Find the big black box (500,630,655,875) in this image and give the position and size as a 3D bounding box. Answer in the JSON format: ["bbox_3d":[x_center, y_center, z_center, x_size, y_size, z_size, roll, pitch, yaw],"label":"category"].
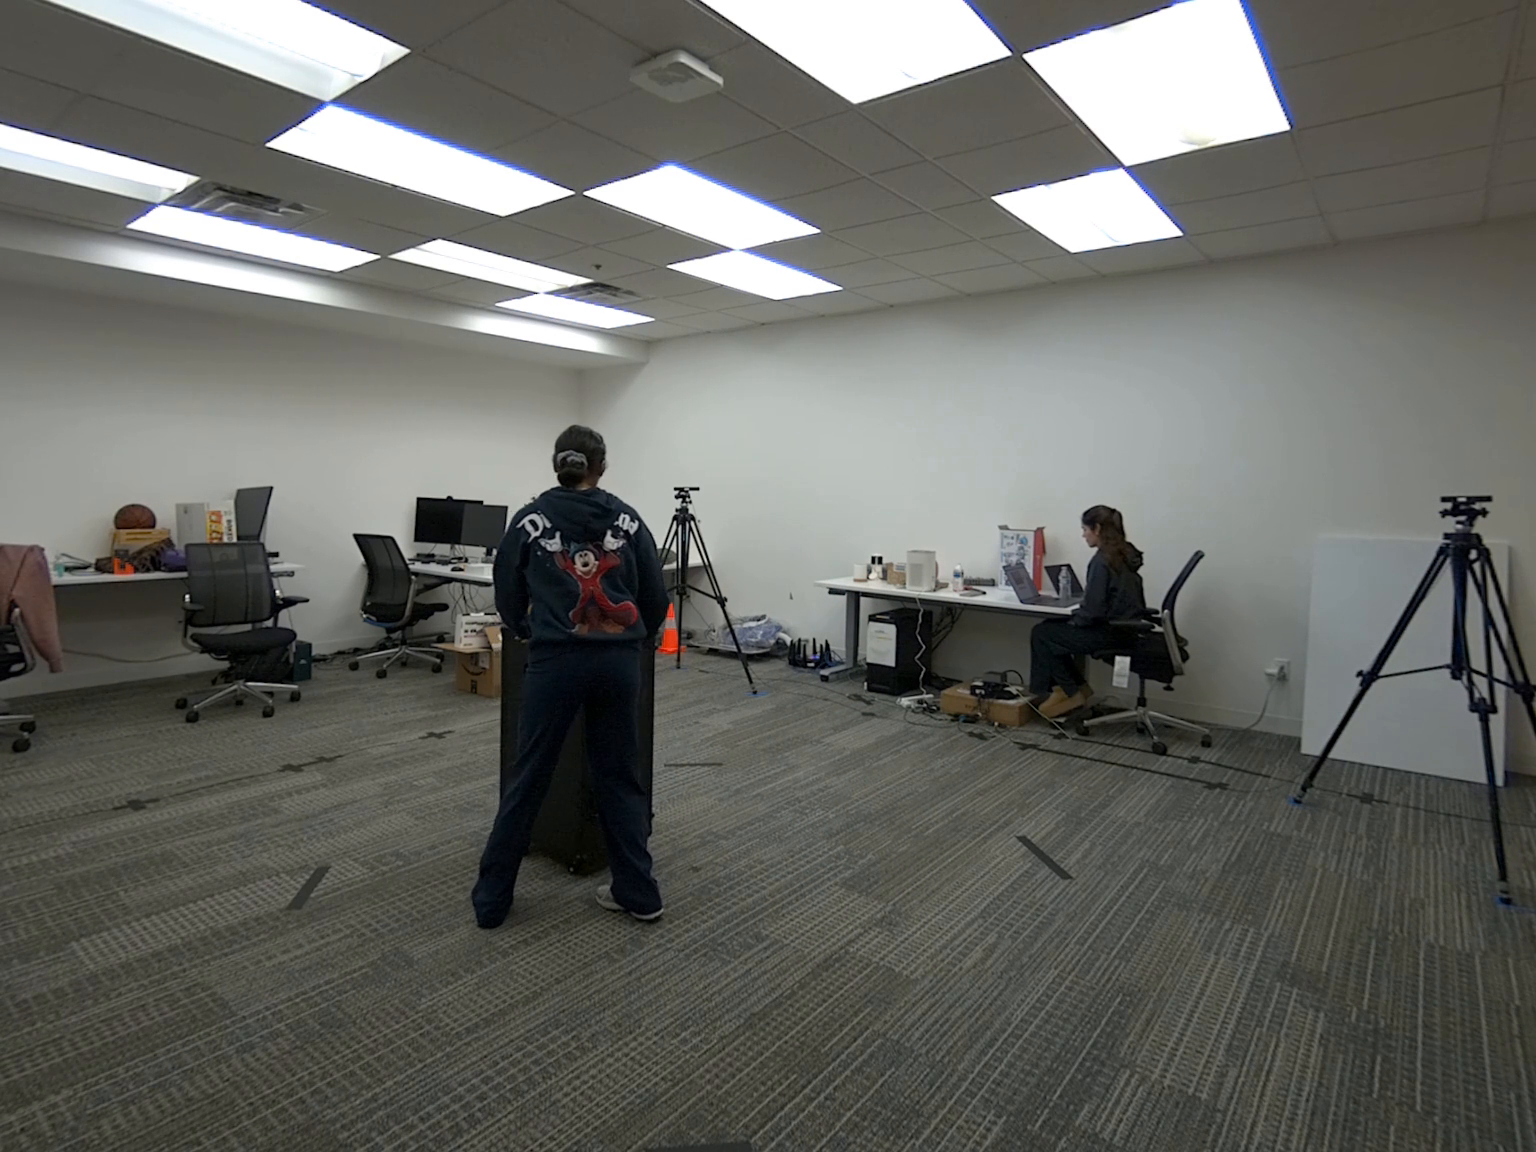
[{"bbox_3d":[-0.739,0.625,3.247,0.538,0.860,0.384,3,2,39],"label":"big black box"}]
